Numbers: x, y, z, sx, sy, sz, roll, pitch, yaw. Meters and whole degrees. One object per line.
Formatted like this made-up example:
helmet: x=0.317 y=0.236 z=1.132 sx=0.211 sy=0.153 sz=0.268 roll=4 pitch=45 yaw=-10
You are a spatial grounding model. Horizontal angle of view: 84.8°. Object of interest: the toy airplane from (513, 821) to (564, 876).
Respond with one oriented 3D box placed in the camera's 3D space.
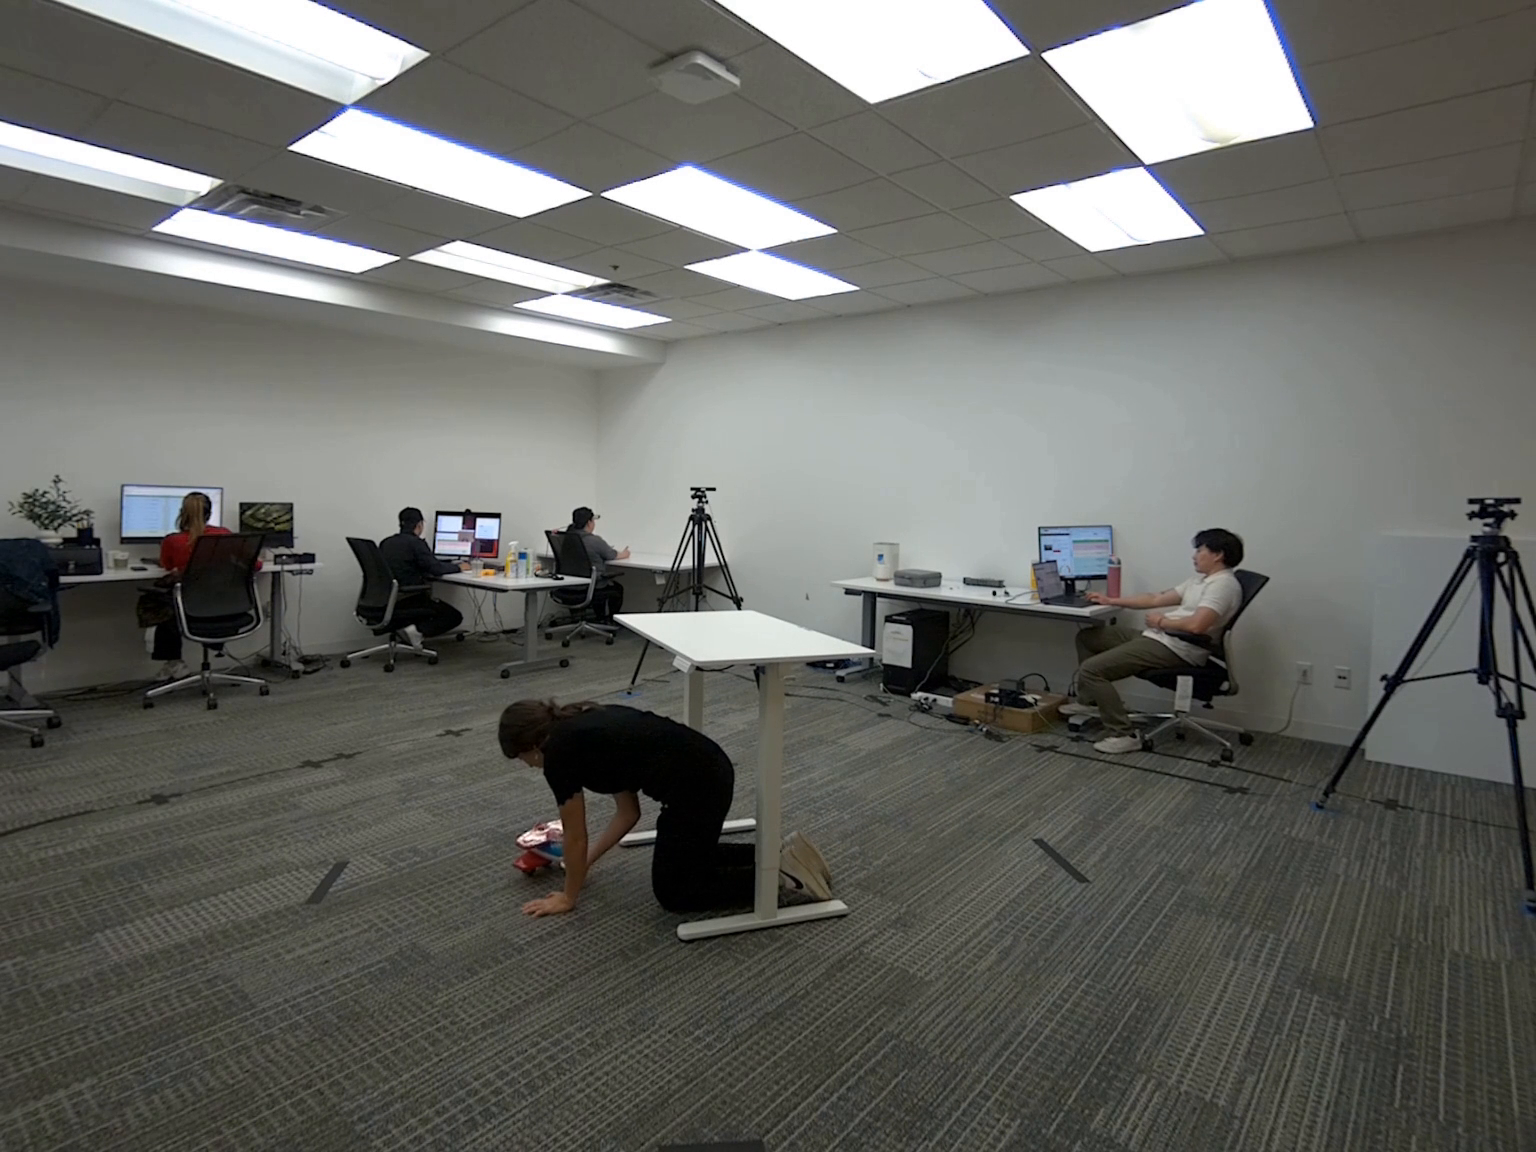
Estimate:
toy airplane: x=-0.775 y=0.978 z=3.043 sx=0.260 sy=0.156 sz=0.250 roll=-7 pitch=0 yaw=1
